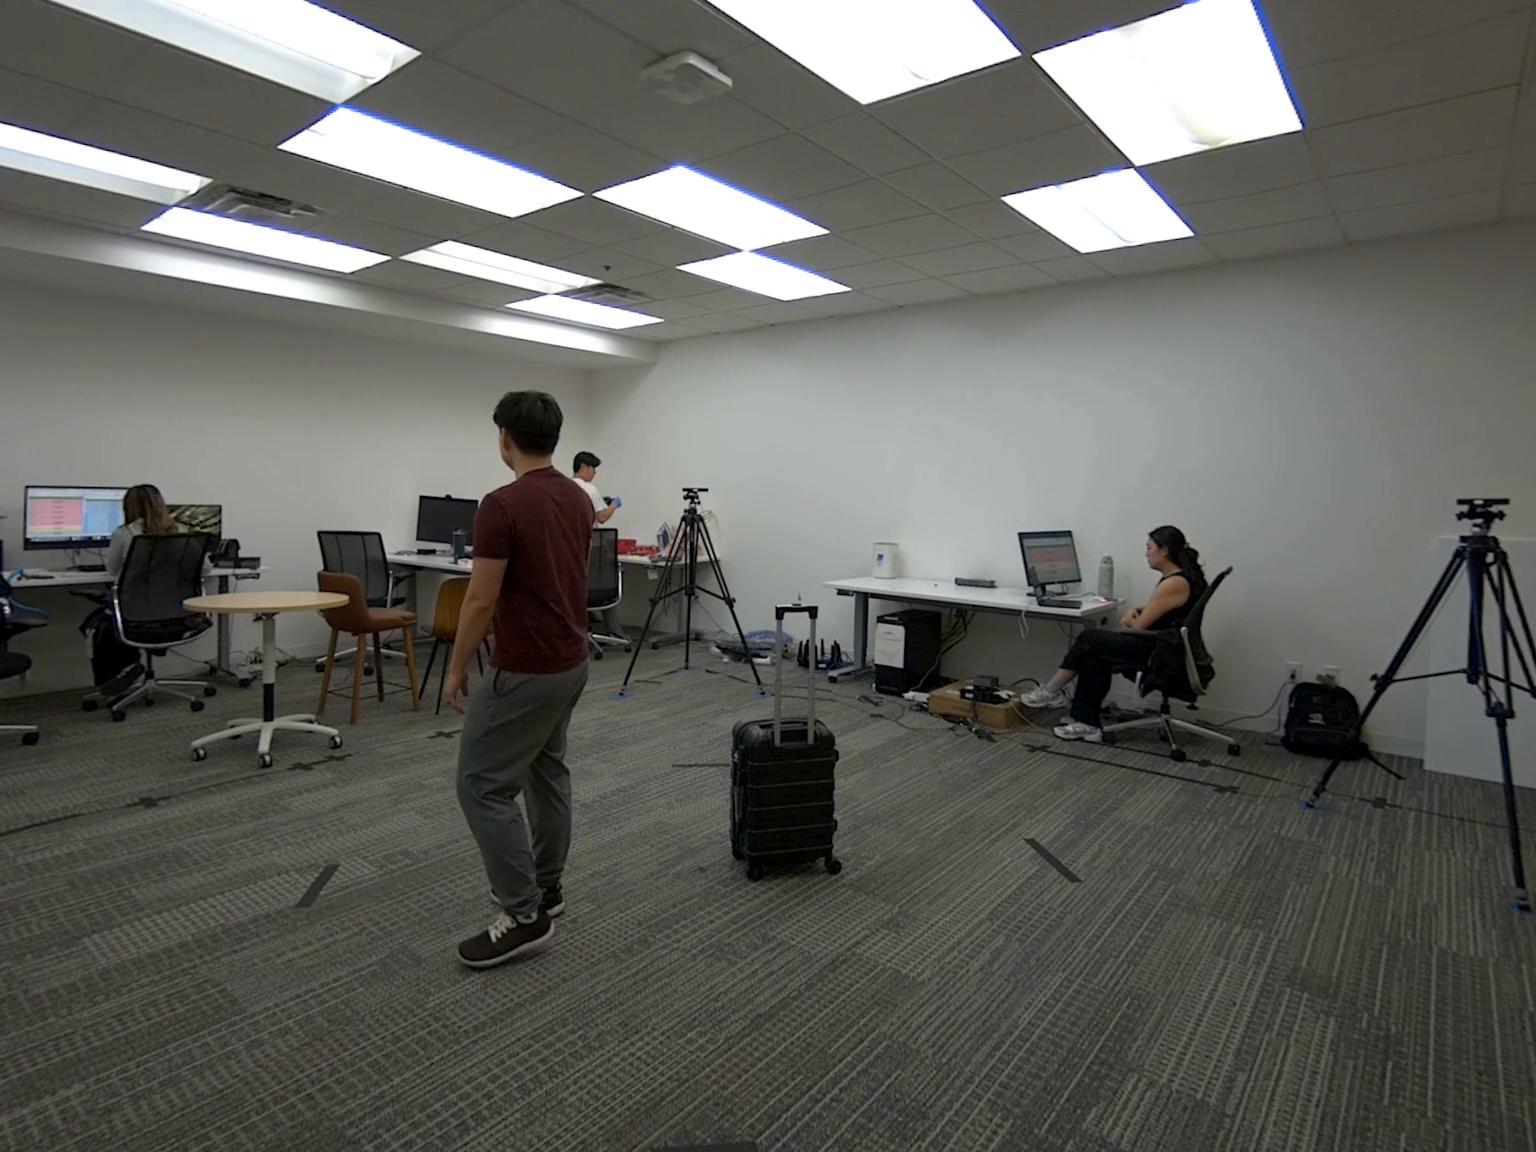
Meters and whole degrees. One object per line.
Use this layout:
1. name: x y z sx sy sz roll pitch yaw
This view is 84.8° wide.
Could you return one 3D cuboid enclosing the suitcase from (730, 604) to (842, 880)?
1. suitcase: 0.049 0.592 3.143 0.378 0.978 0.261 0 0 -16
